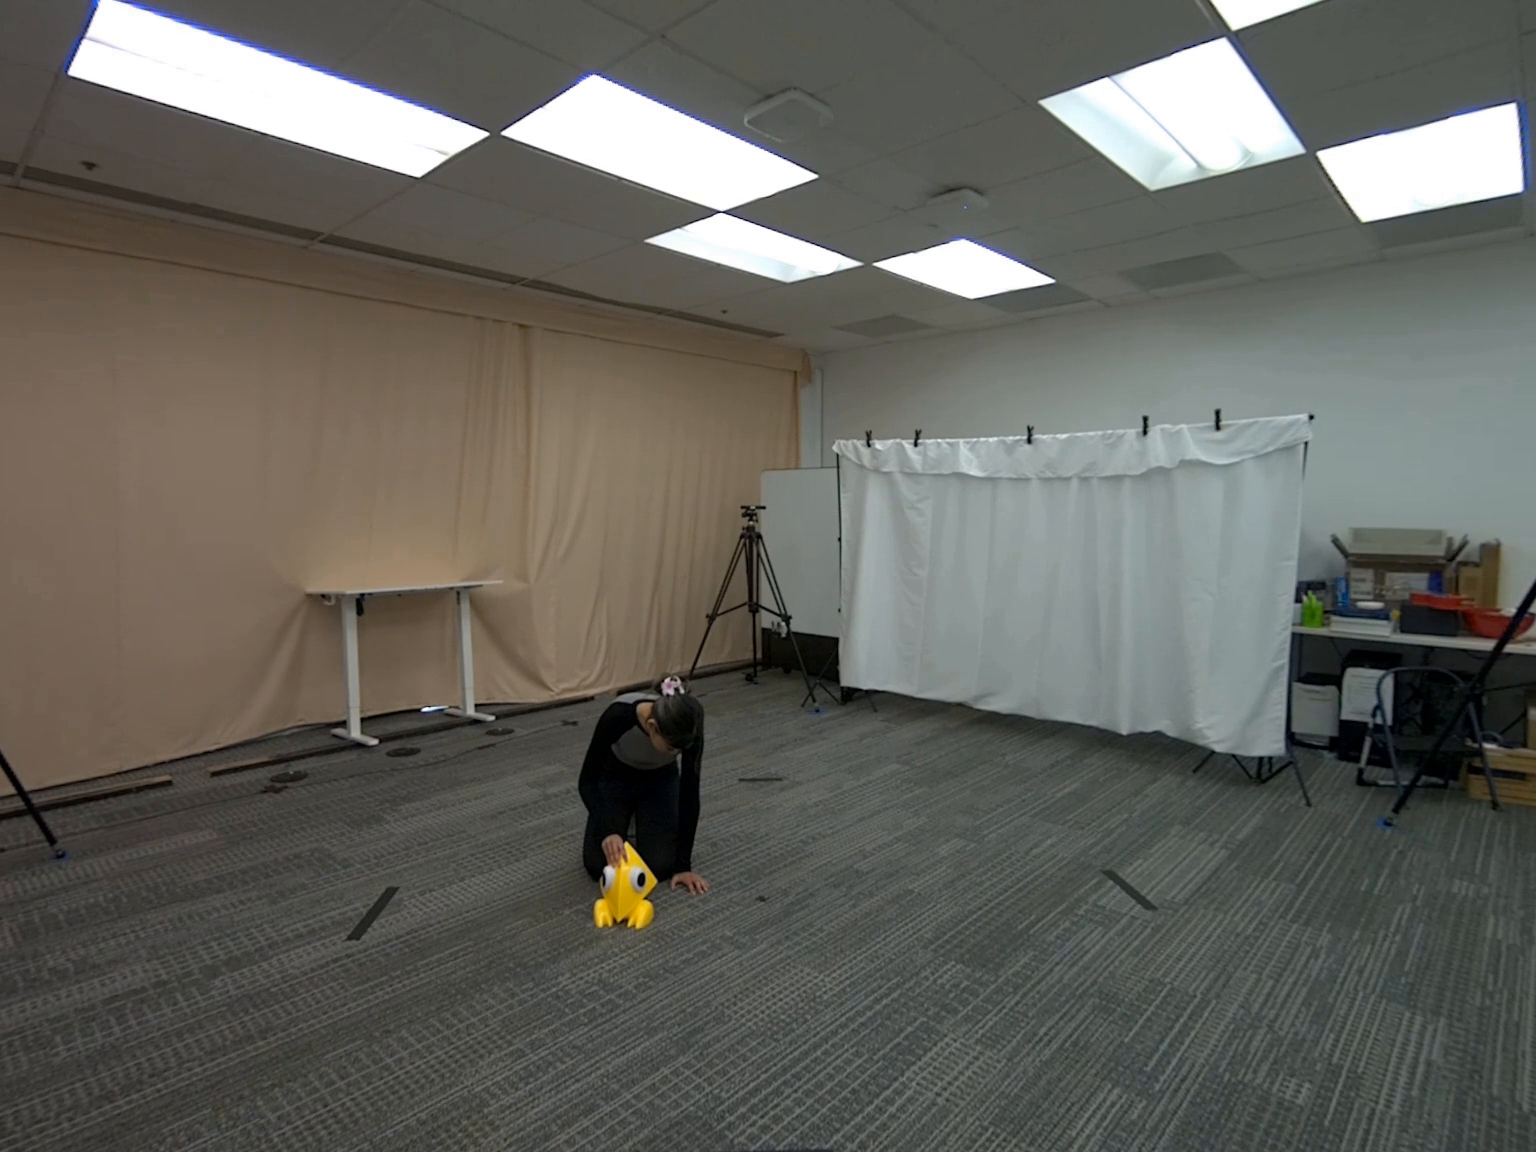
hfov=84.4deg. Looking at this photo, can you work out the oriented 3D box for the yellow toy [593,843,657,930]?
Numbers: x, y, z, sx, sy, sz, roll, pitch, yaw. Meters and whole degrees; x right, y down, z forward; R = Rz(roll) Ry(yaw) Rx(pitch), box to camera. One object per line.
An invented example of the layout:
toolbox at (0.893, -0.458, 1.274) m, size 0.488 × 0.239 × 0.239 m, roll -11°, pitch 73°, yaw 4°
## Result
yellow toy at (-0.491, 1.039, 2.863) m, size 0.206 × 0.230 × 0.192 m, roll 0°, pitch 3°, yaw 4°
